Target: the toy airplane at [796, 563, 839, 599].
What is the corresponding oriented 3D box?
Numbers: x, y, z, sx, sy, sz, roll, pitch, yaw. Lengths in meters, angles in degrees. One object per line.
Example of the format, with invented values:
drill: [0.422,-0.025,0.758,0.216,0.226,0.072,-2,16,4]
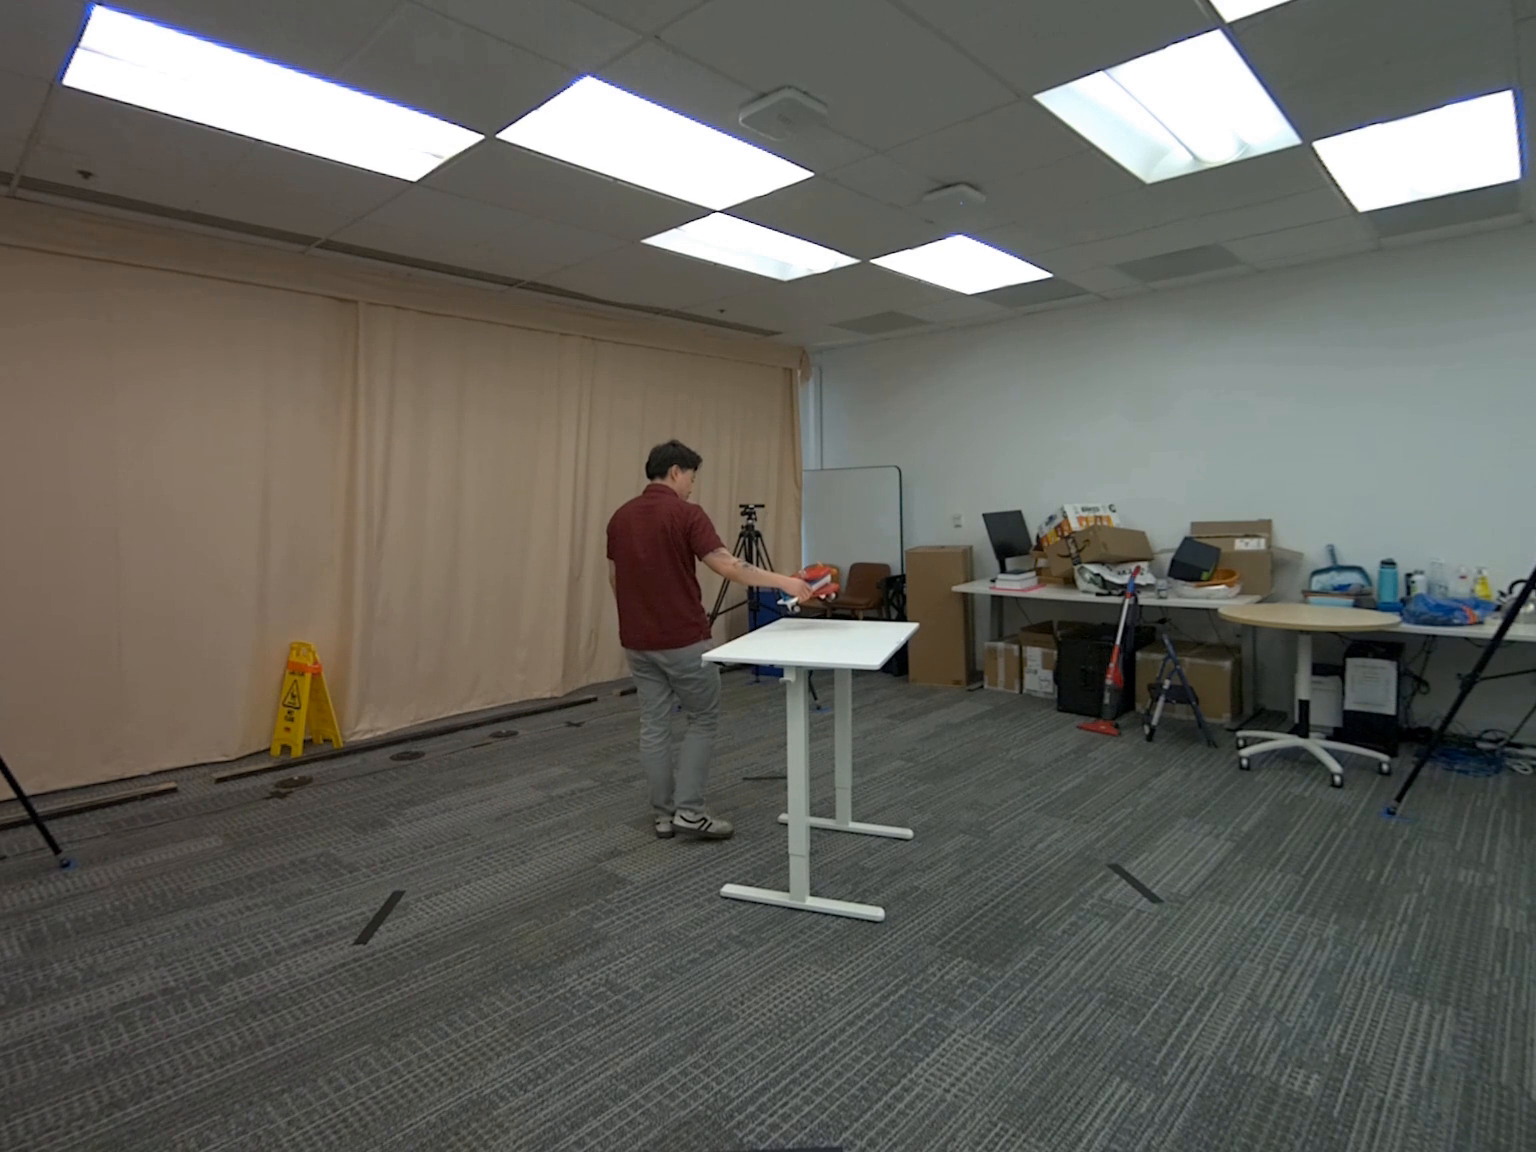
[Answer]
toy airplane: [0.184,0.054,3.493,0.257,0.156,0.254,-11,6,32]
